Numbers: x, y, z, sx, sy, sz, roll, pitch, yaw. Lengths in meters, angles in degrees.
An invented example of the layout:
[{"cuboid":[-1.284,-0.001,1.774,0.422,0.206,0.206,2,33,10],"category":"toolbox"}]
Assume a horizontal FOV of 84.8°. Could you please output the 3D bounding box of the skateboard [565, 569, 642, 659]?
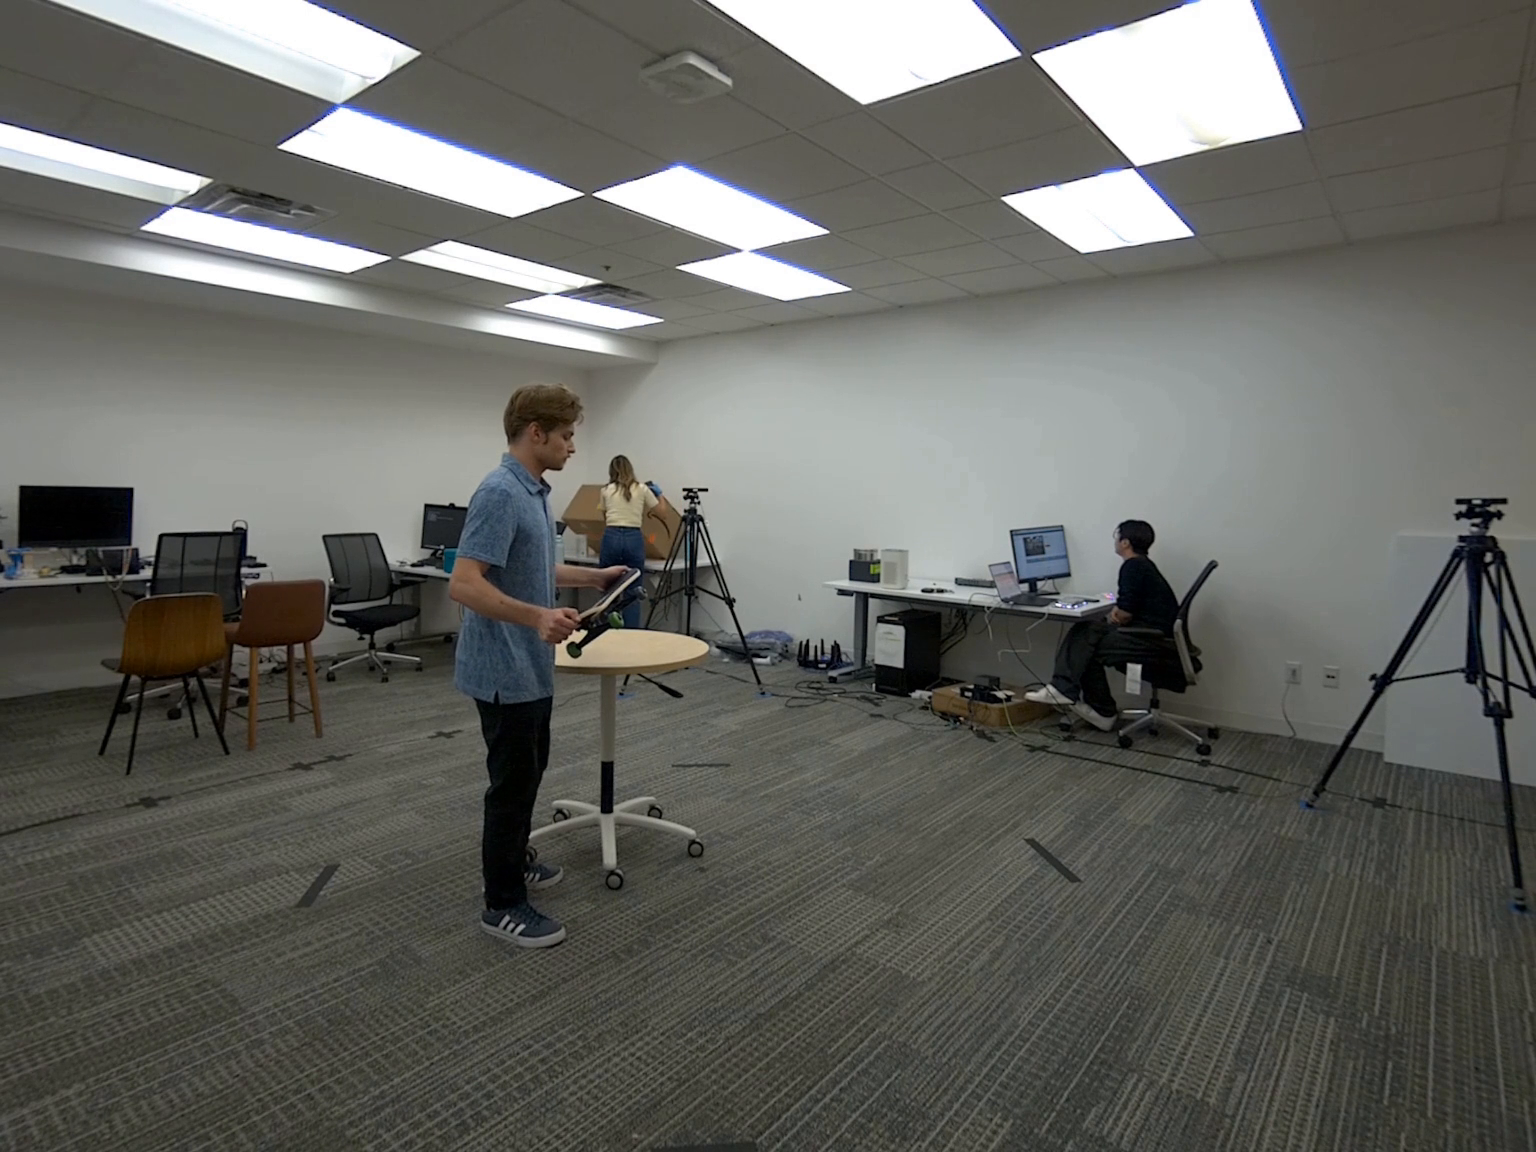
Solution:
[{"cuboid":[-0.524,0.119,2.671,0.194,0.109,0.790,-35,8,7],"category":"skateboard"}]
